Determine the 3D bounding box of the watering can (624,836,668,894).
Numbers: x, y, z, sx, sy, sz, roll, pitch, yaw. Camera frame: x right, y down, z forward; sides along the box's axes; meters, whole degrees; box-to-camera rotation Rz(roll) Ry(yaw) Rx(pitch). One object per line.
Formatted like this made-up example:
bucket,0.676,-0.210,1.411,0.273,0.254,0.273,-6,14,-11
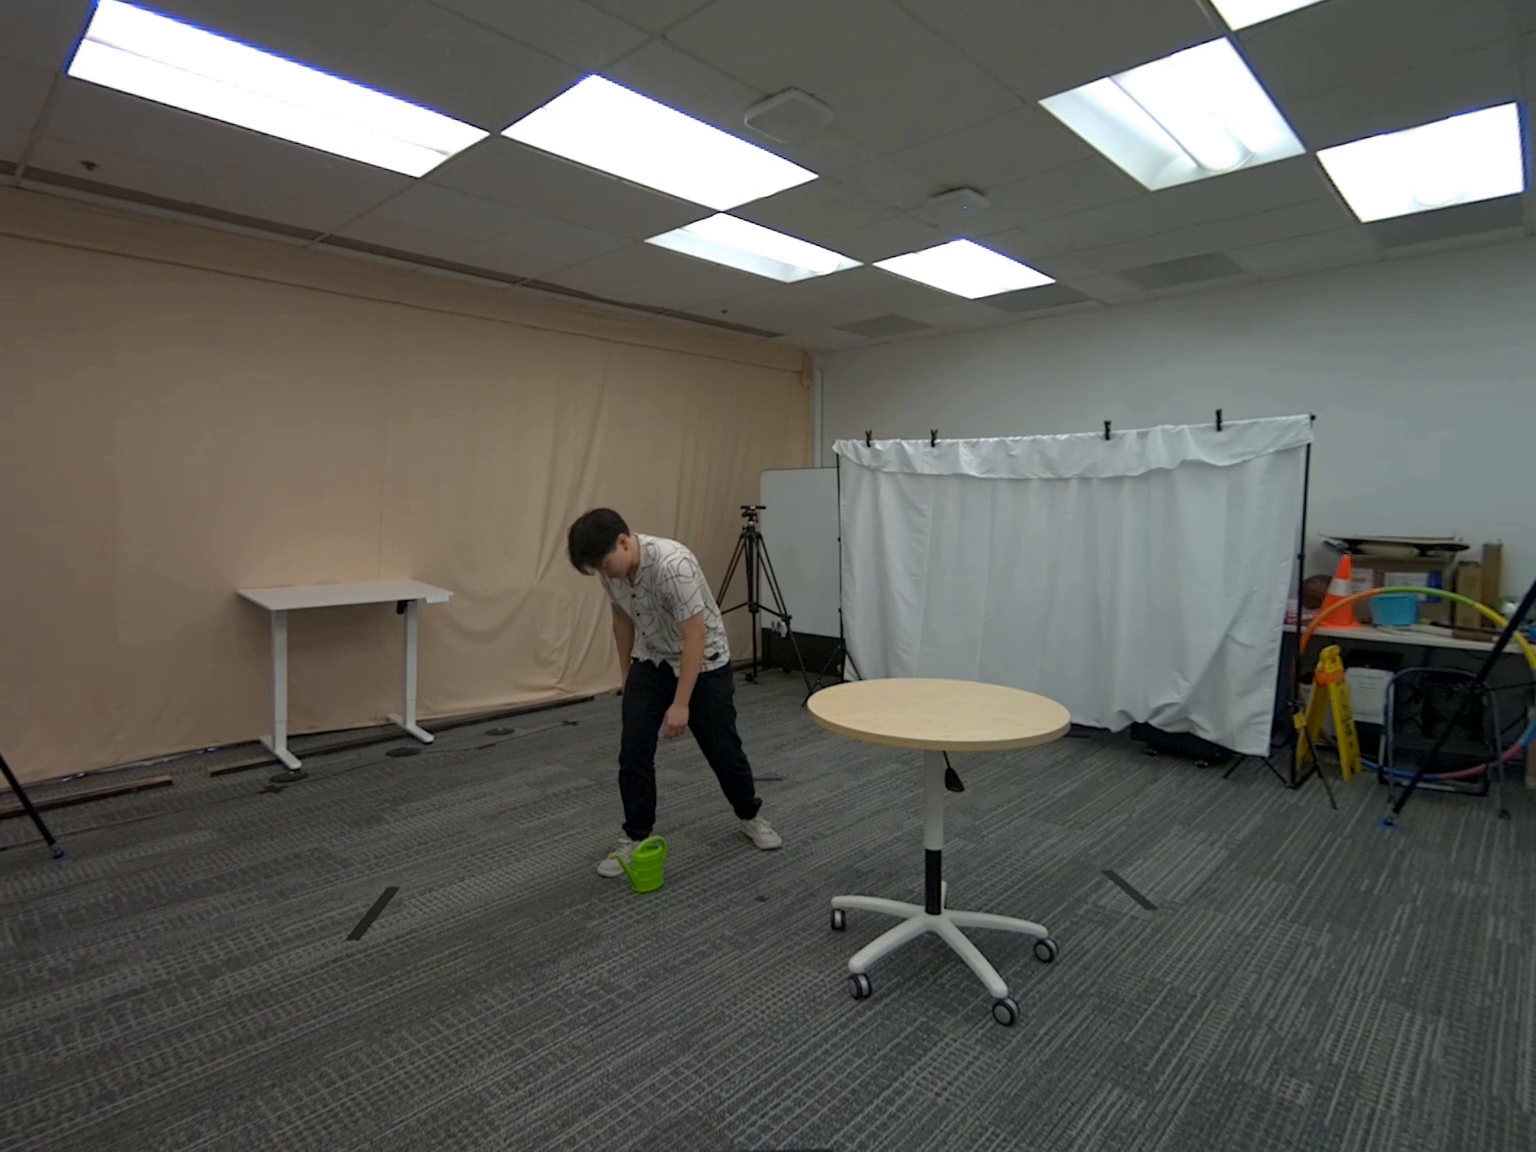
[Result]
watering can,-0.478,1.049,3.060,0.270,0.177,0.101,-1,2,-37
